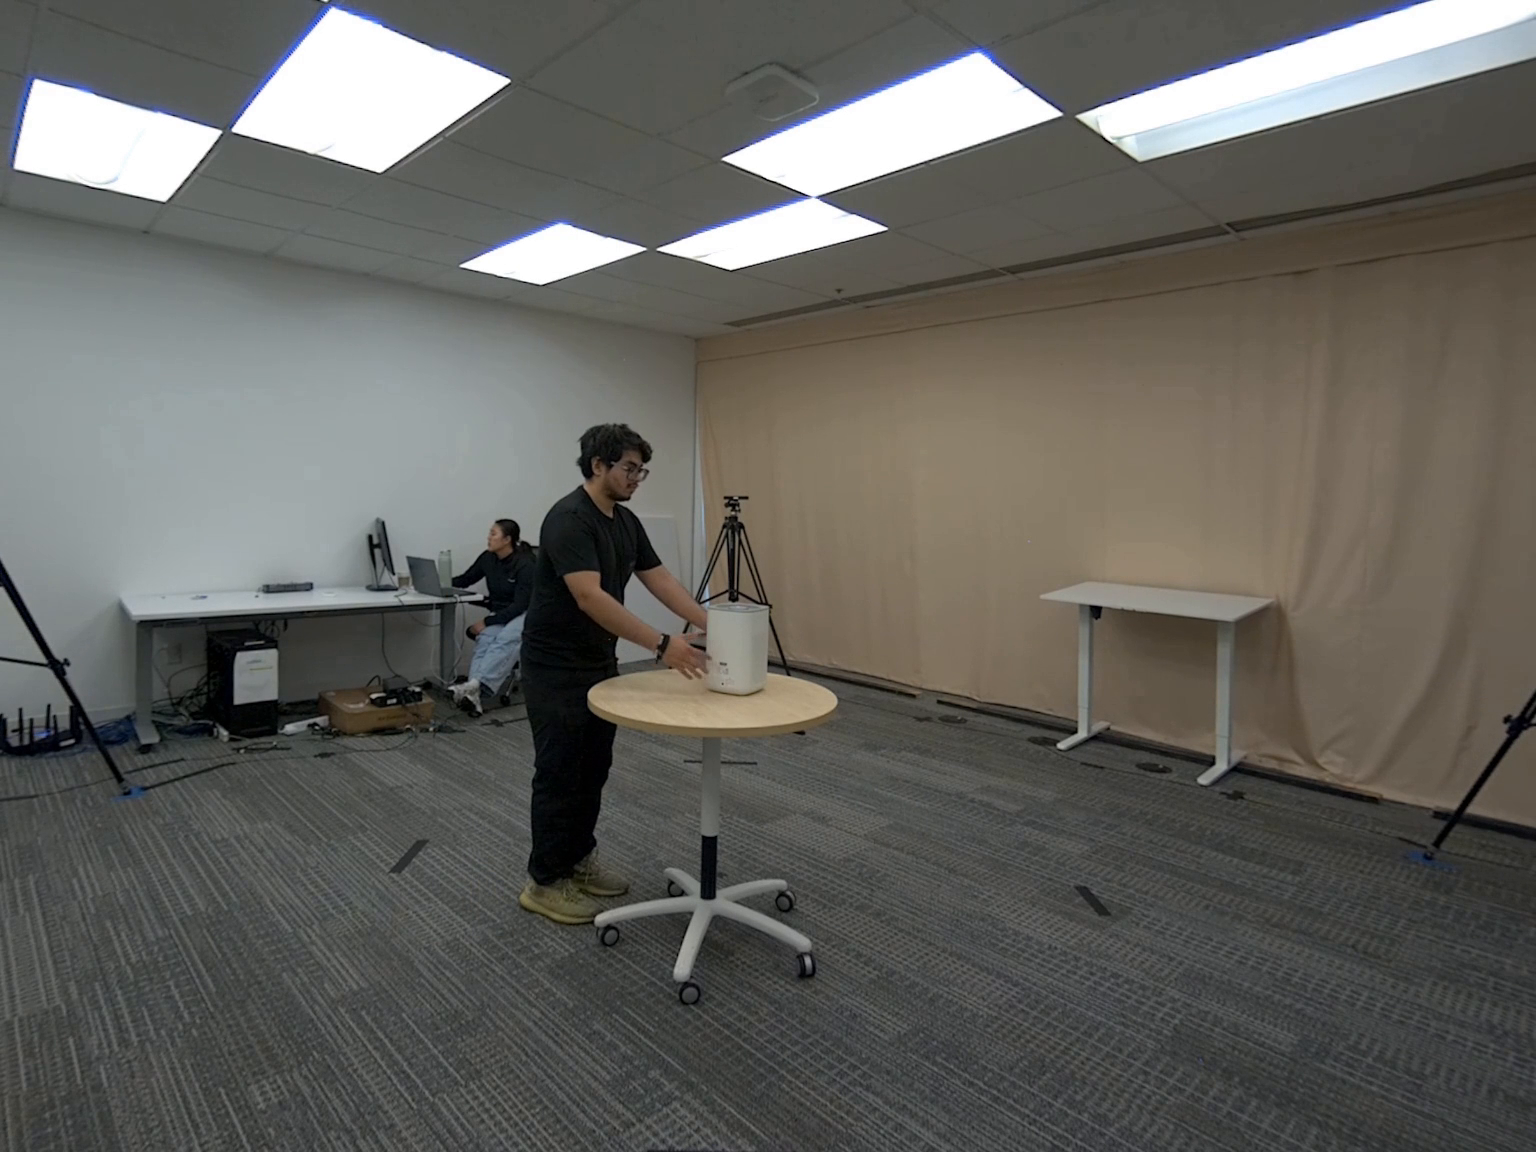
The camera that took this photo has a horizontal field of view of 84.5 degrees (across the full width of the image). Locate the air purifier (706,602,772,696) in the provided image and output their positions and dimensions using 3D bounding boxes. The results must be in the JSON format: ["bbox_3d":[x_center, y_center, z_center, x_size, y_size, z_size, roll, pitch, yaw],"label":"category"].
[{"bbox_3d":[-0.103,0.226,2.653,0.174,0.265,0.168,4,3,27],"label":"air purifier"}]
